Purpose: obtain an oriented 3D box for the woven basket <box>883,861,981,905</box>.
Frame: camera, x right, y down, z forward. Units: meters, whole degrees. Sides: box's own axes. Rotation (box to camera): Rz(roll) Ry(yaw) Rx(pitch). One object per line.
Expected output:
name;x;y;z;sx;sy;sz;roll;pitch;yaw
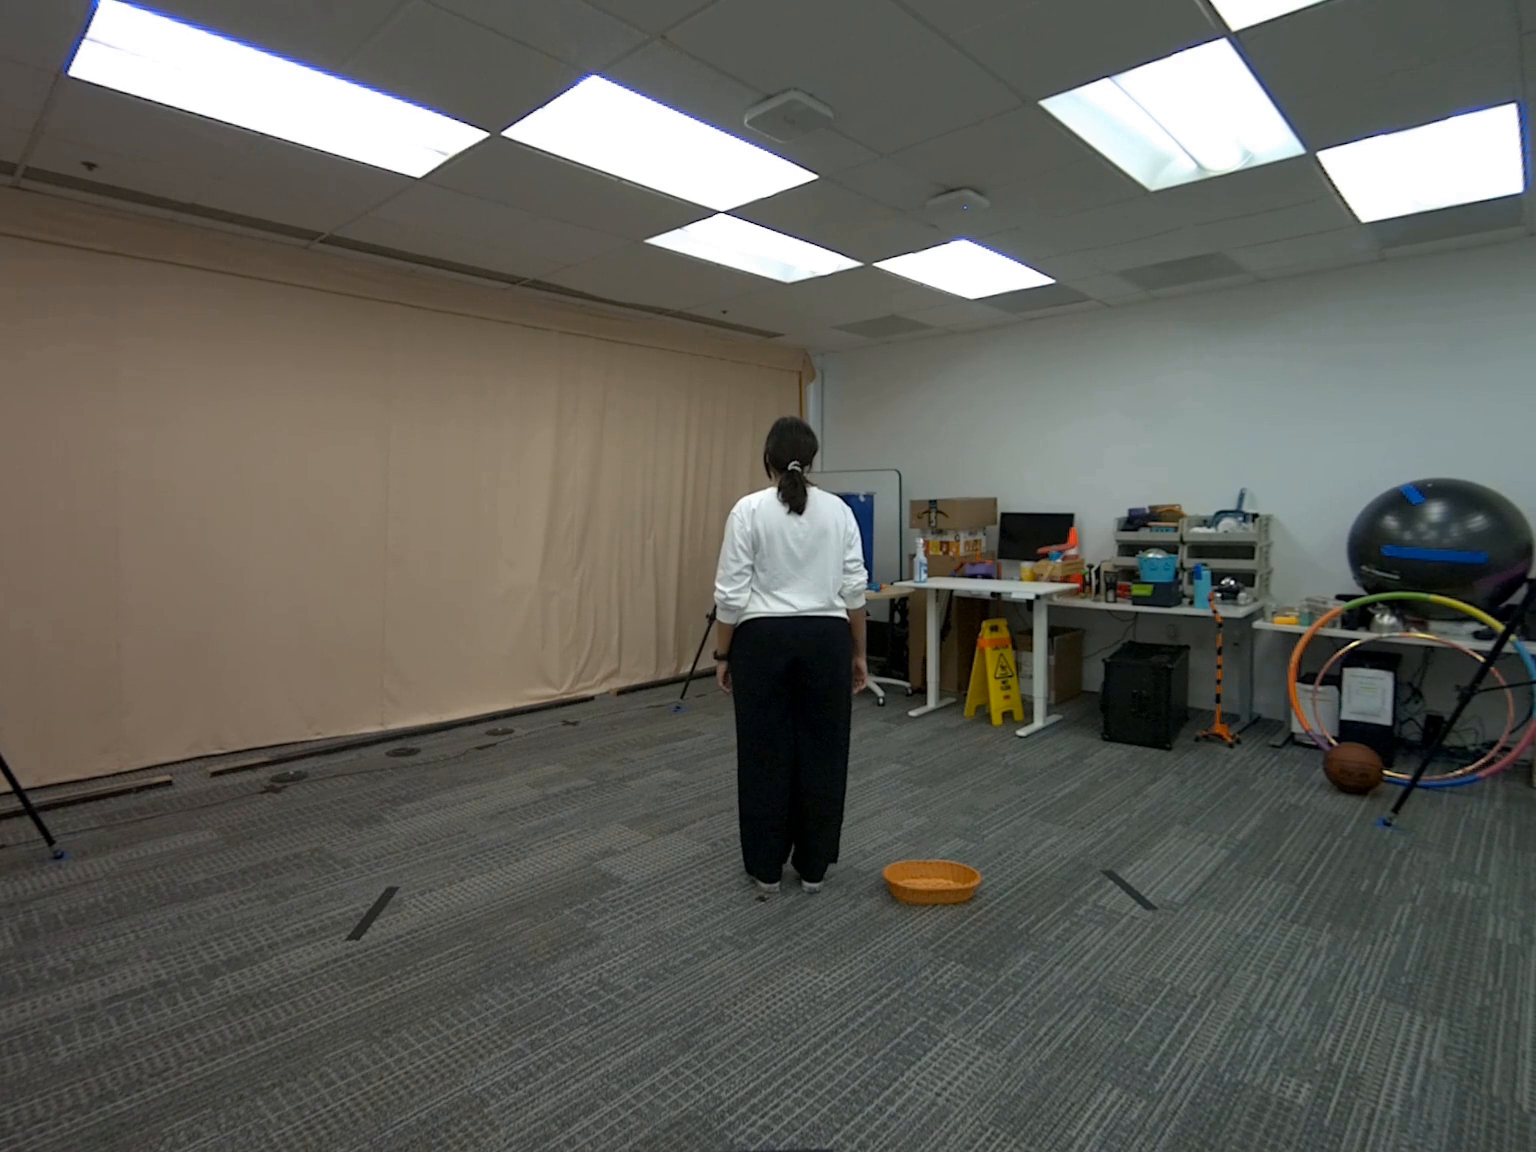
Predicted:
woven basket;0.592;1.099;3.019;0.350;0.073;0.253;-1;3;-1
